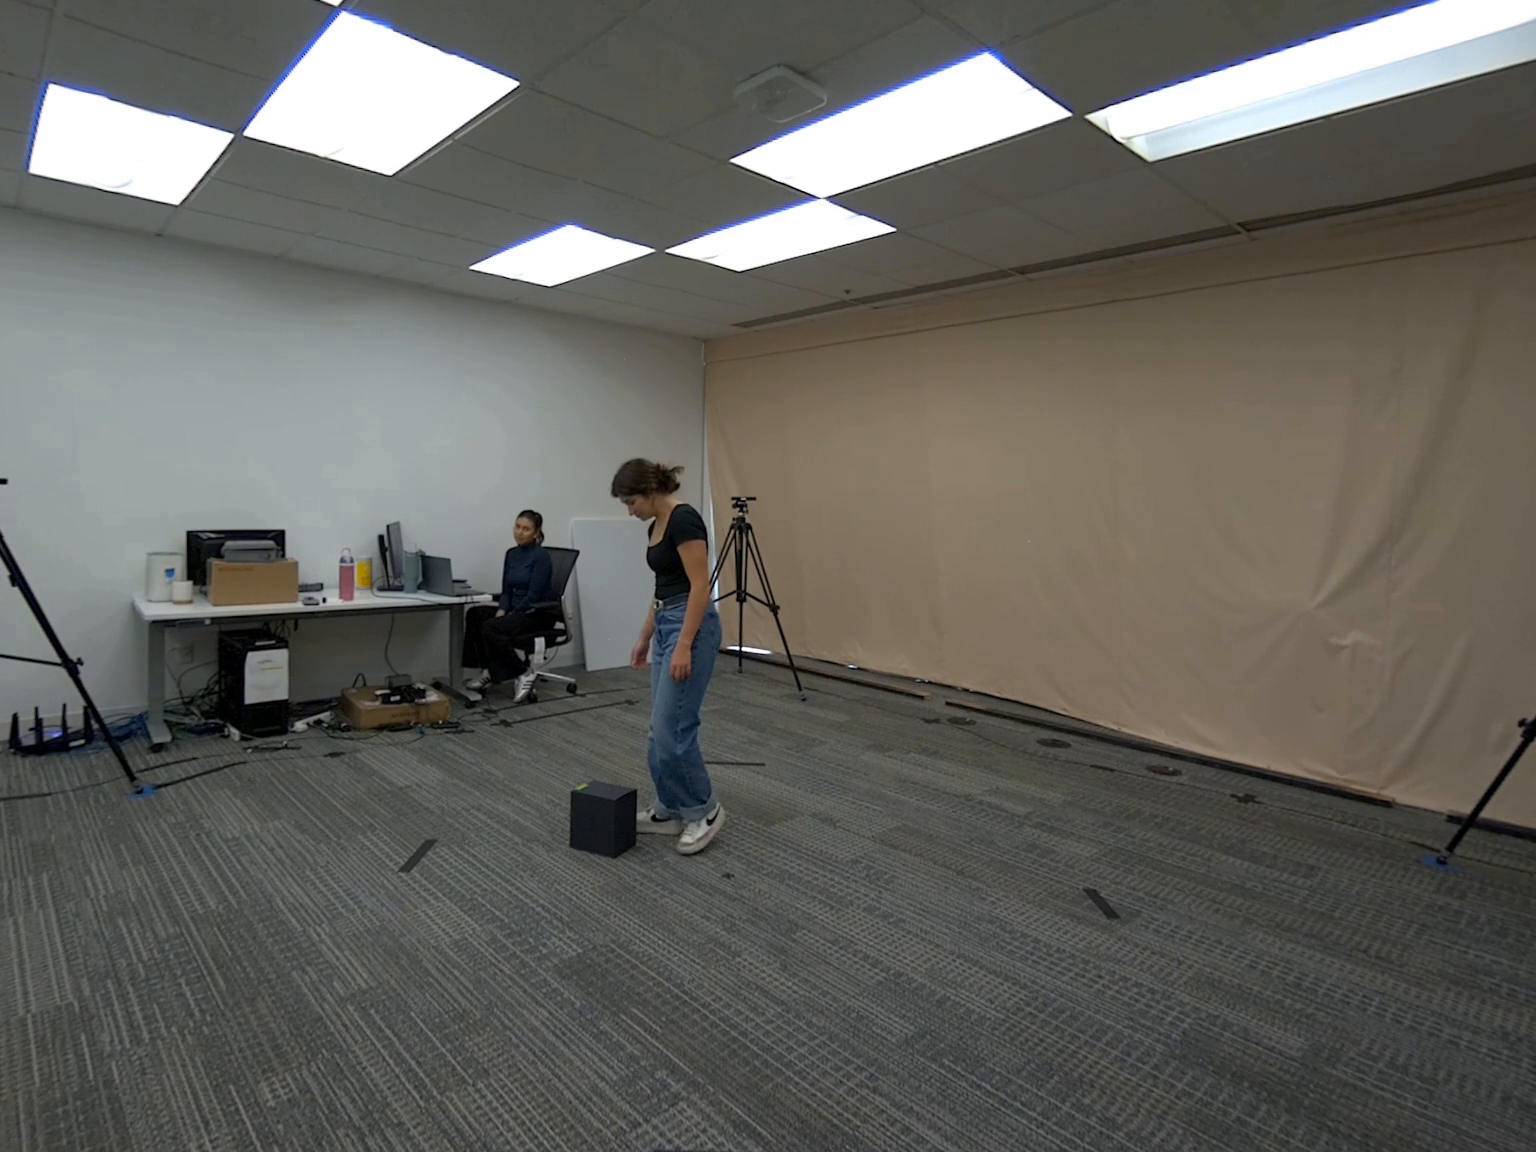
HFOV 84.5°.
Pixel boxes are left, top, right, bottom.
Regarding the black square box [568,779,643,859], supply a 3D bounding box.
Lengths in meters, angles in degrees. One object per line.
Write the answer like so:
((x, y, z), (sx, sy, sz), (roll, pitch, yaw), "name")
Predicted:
((-0.662, 0.956, 3.331), (0.221, 0.227, 0.153), (3, 3, 25), "black square box")
